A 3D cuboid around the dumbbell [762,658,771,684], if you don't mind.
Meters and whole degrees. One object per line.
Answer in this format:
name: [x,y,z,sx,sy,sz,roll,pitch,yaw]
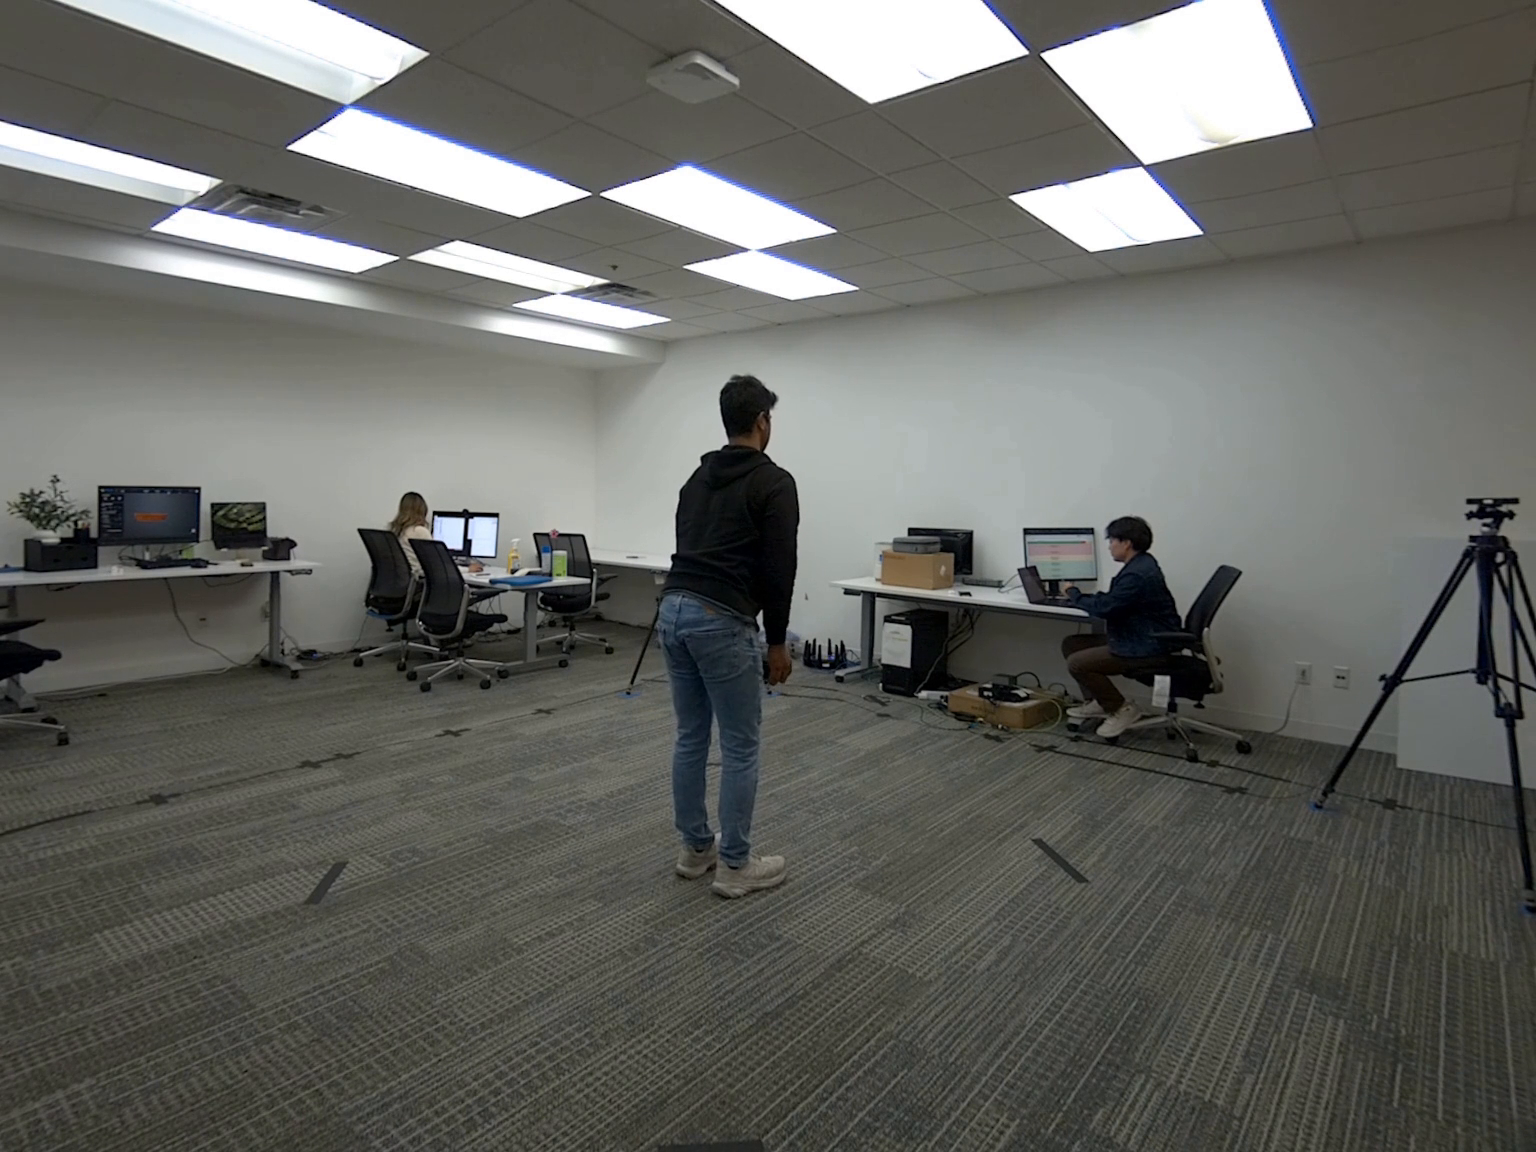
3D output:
dumbbell: [-0.090,0.315,3.082,0.304,0.105,0.122,9,39,43]
